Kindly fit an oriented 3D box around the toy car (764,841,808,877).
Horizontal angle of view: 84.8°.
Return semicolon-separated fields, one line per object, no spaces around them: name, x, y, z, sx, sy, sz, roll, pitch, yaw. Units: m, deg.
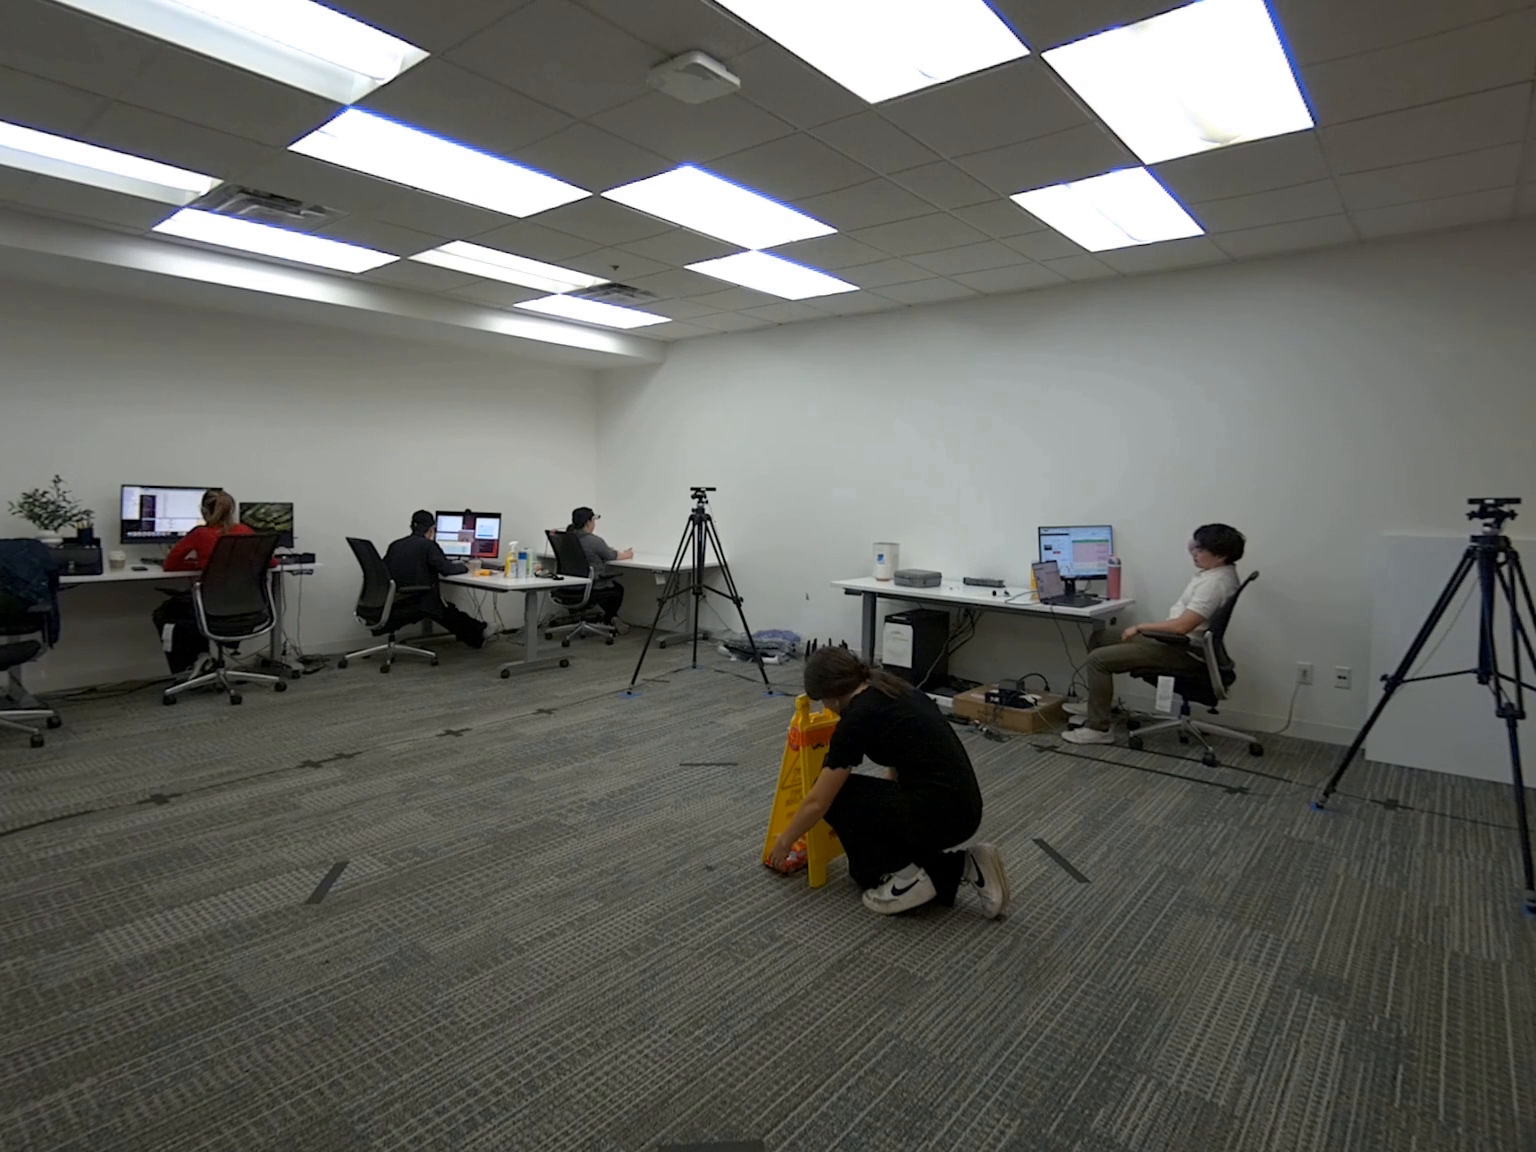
toy car;0.108;1.034;3.162;0.249;0.082;0.135;-22;18;-40
